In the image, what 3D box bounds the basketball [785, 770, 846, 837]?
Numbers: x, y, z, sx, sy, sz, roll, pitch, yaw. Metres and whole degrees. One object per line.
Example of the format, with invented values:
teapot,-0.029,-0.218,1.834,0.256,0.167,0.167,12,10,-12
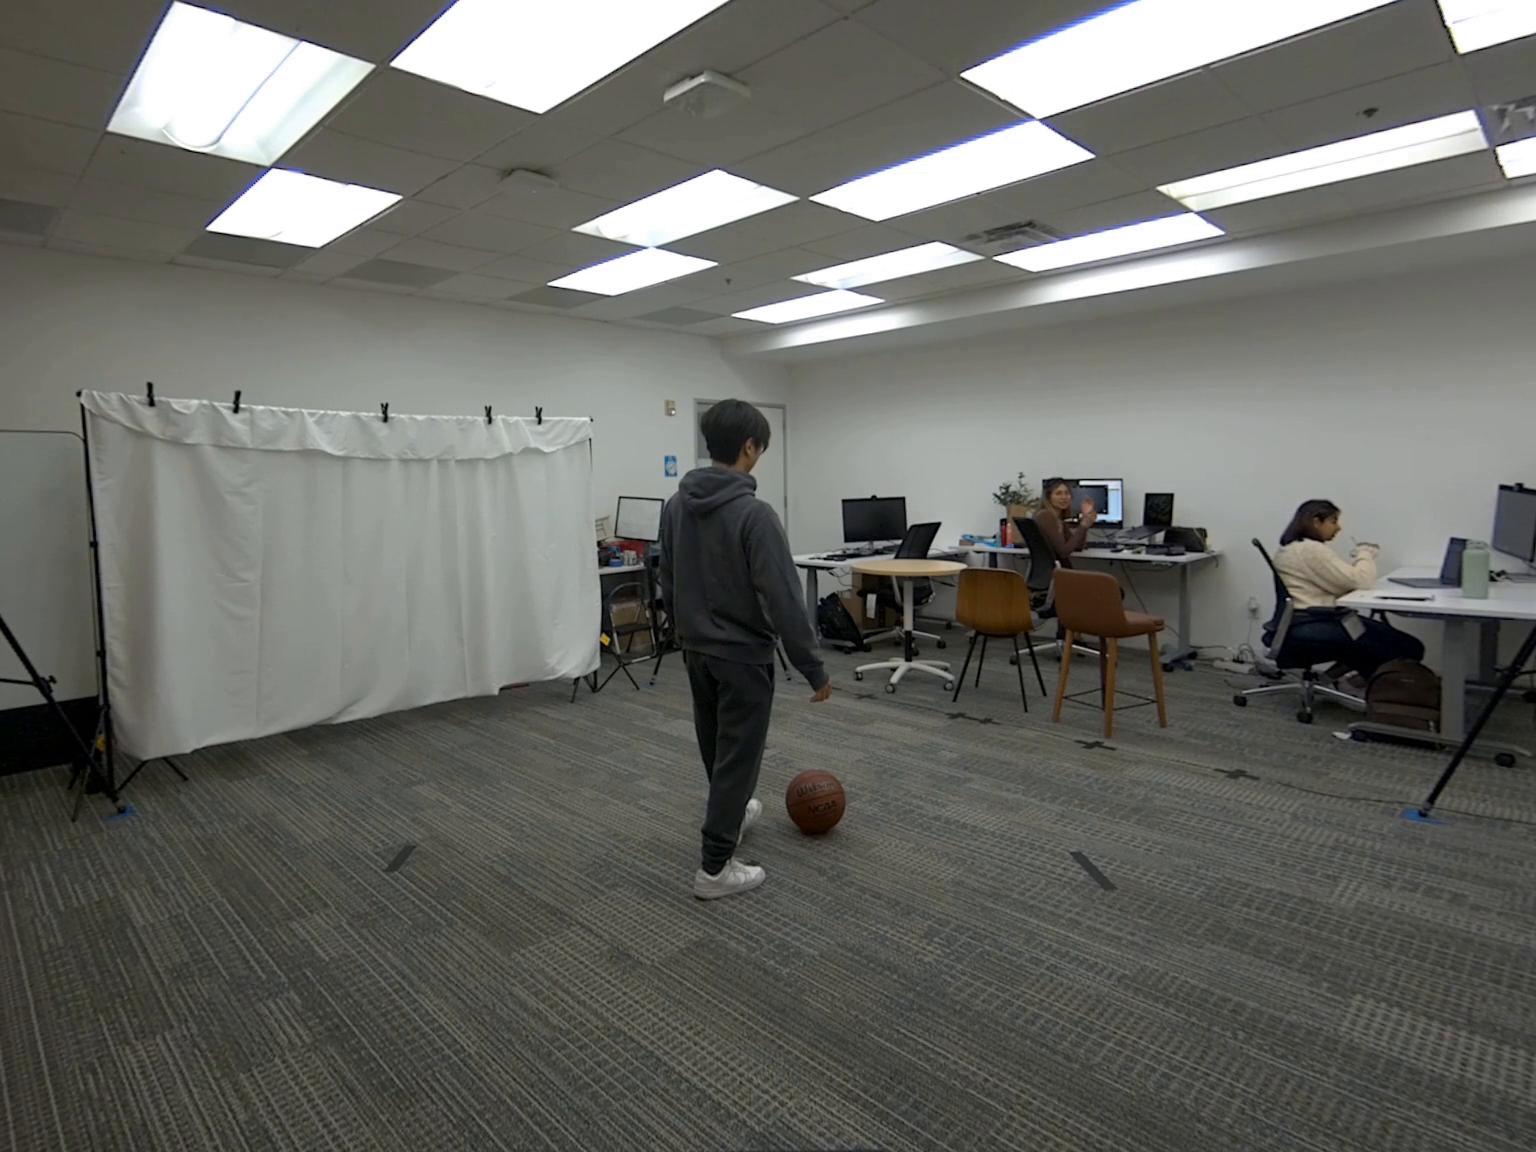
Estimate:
basketball,0.189,0.884,3.380,0.236,0.235,0.237,-1,5,-2
